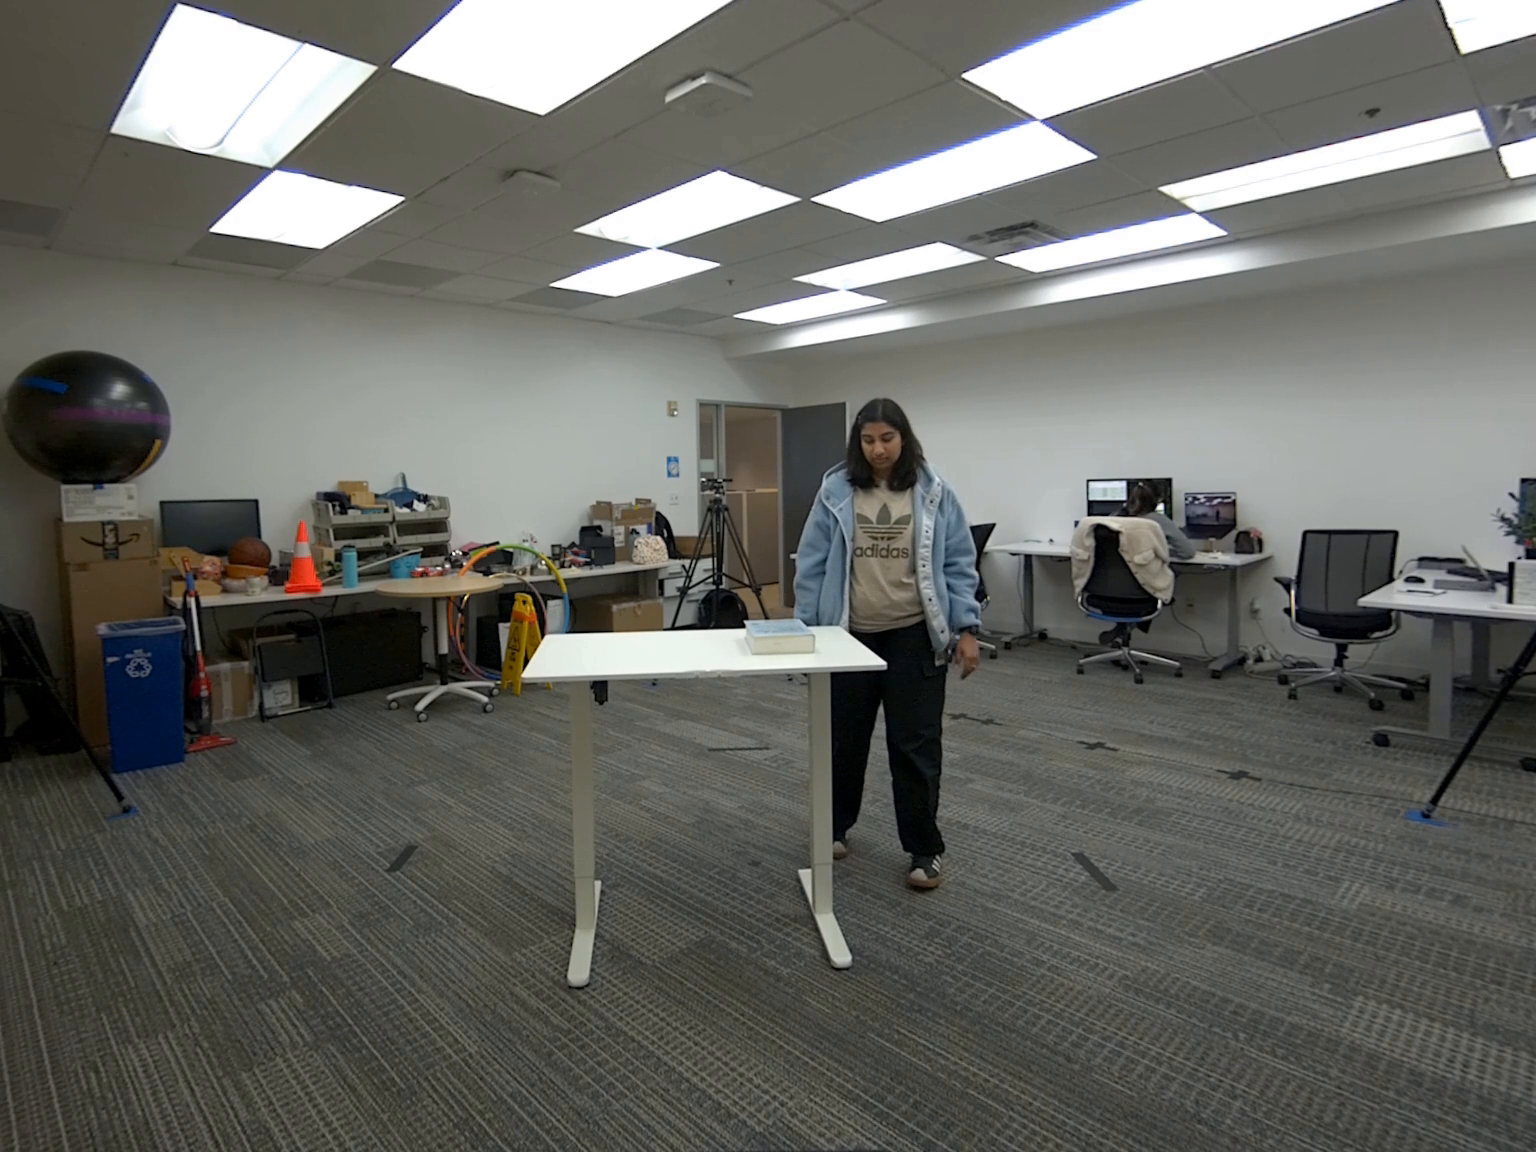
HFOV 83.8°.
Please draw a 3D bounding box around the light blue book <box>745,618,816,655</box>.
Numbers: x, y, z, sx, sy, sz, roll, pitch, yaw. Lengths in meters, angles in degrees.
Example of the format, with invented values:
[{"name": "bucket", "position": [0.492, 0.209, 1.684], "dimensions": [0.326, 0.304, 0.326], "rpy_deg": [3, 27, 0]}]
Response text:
[{"name": "light blue book", "position": [0.039, 0.187, 2.634], "dimensions": [0.190, 0.059, 0.263], "rpy_deg": [-1, 6, -5]}]
